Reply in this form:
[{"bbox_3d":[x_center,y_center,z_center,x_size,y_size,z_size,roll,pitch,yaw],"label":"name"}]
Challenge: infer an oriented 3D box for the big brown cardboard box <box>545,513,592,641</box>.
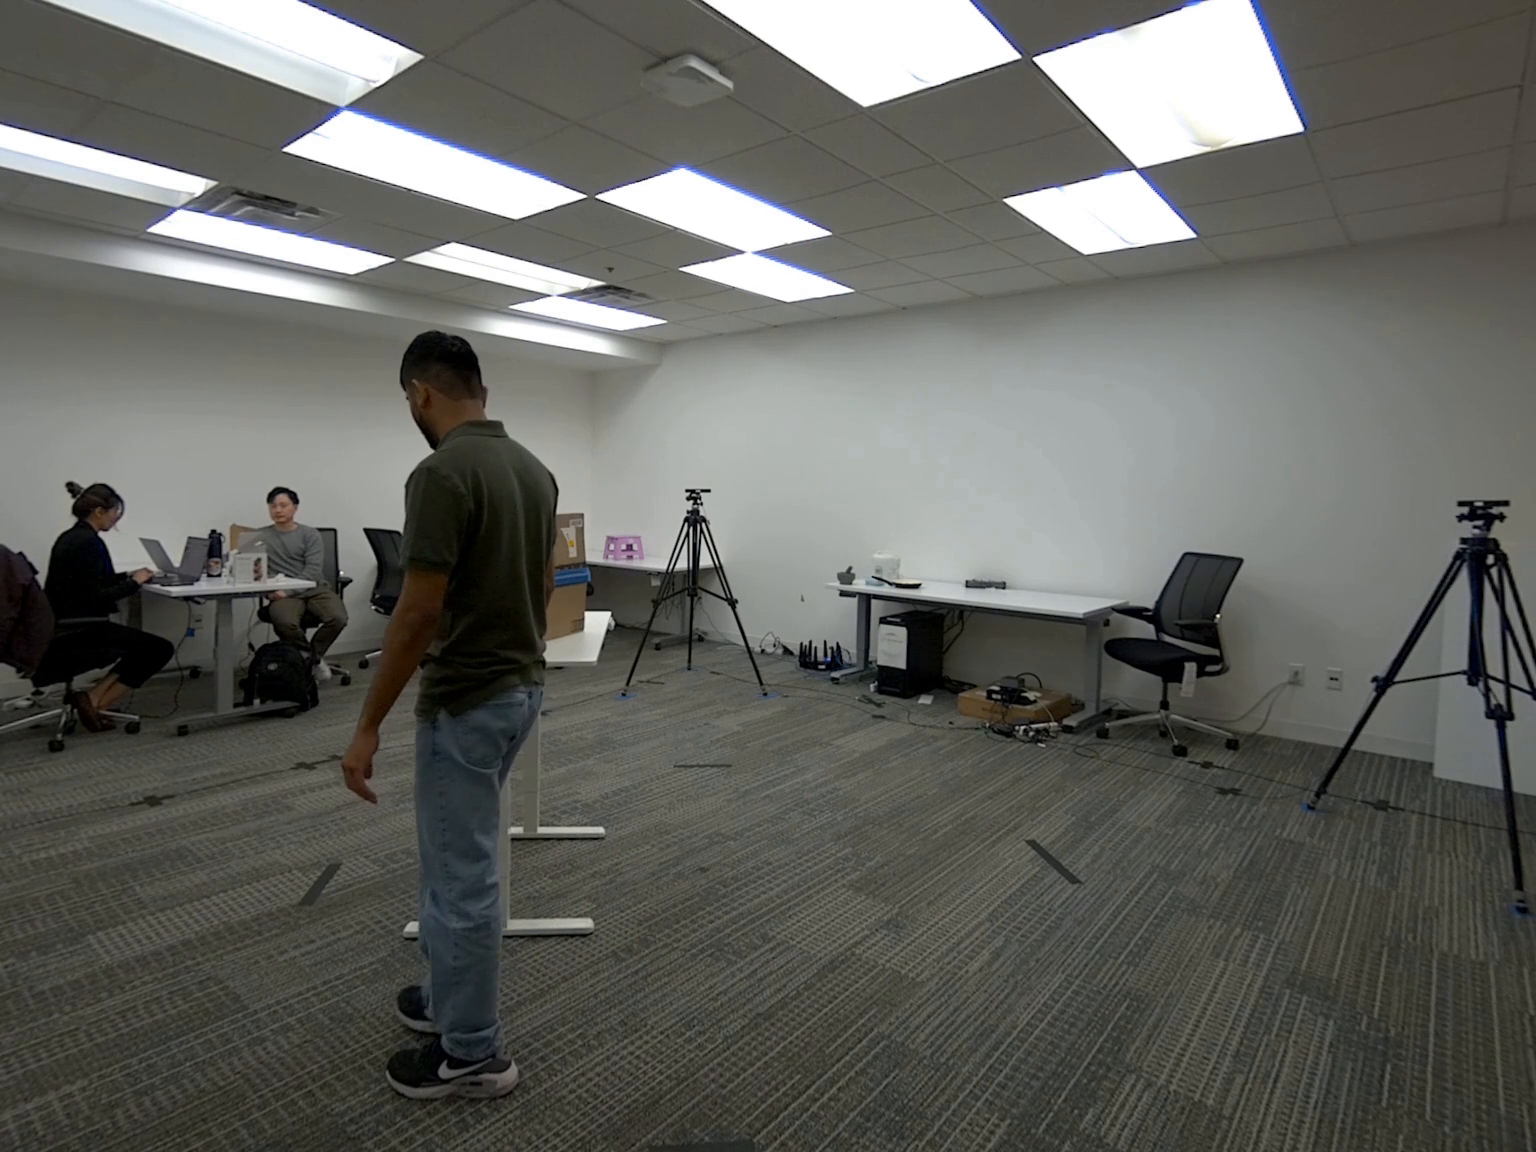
[{"bbox_3d":[-0.851,0.008,2.796,0.239,0.416,0.577,1,5,22],"label":"big brown cardboard box"}]
